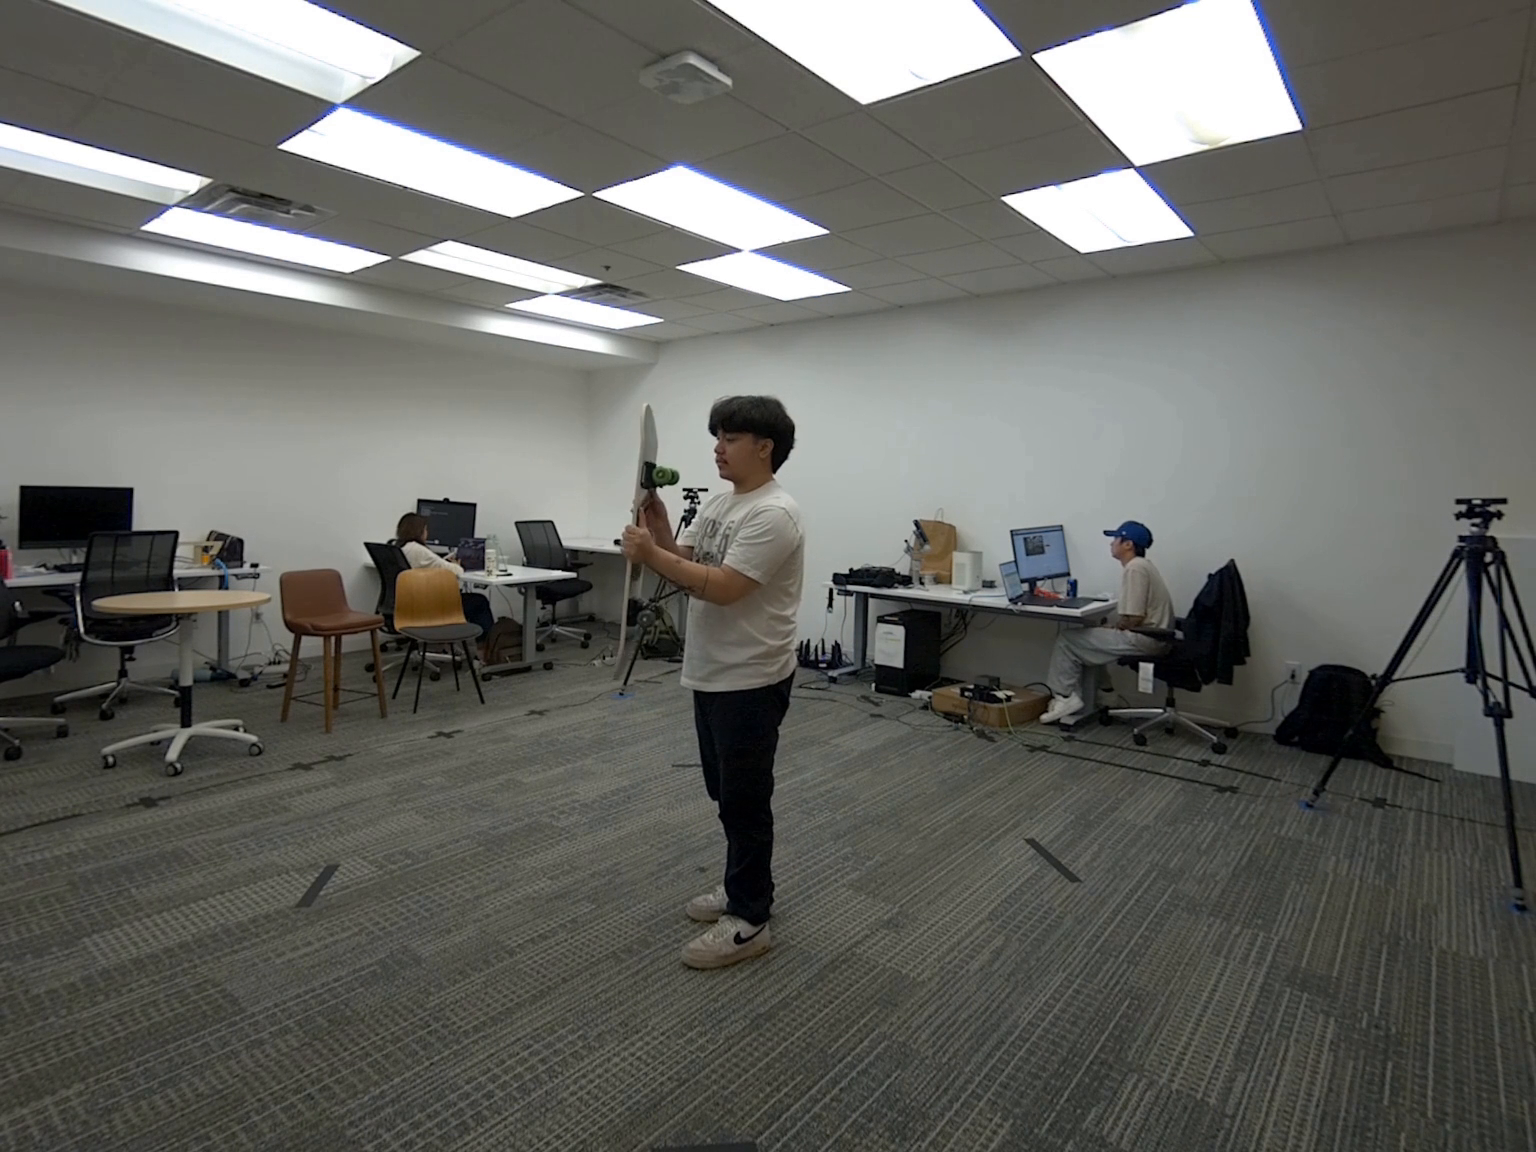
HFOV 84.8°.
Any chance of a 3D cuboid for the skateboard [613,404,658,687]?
[{"bbox_3d":[-0.352,-0.092,2.424,0.111,0.783,0.192,7,3,7],"label":"skateboard"}]
